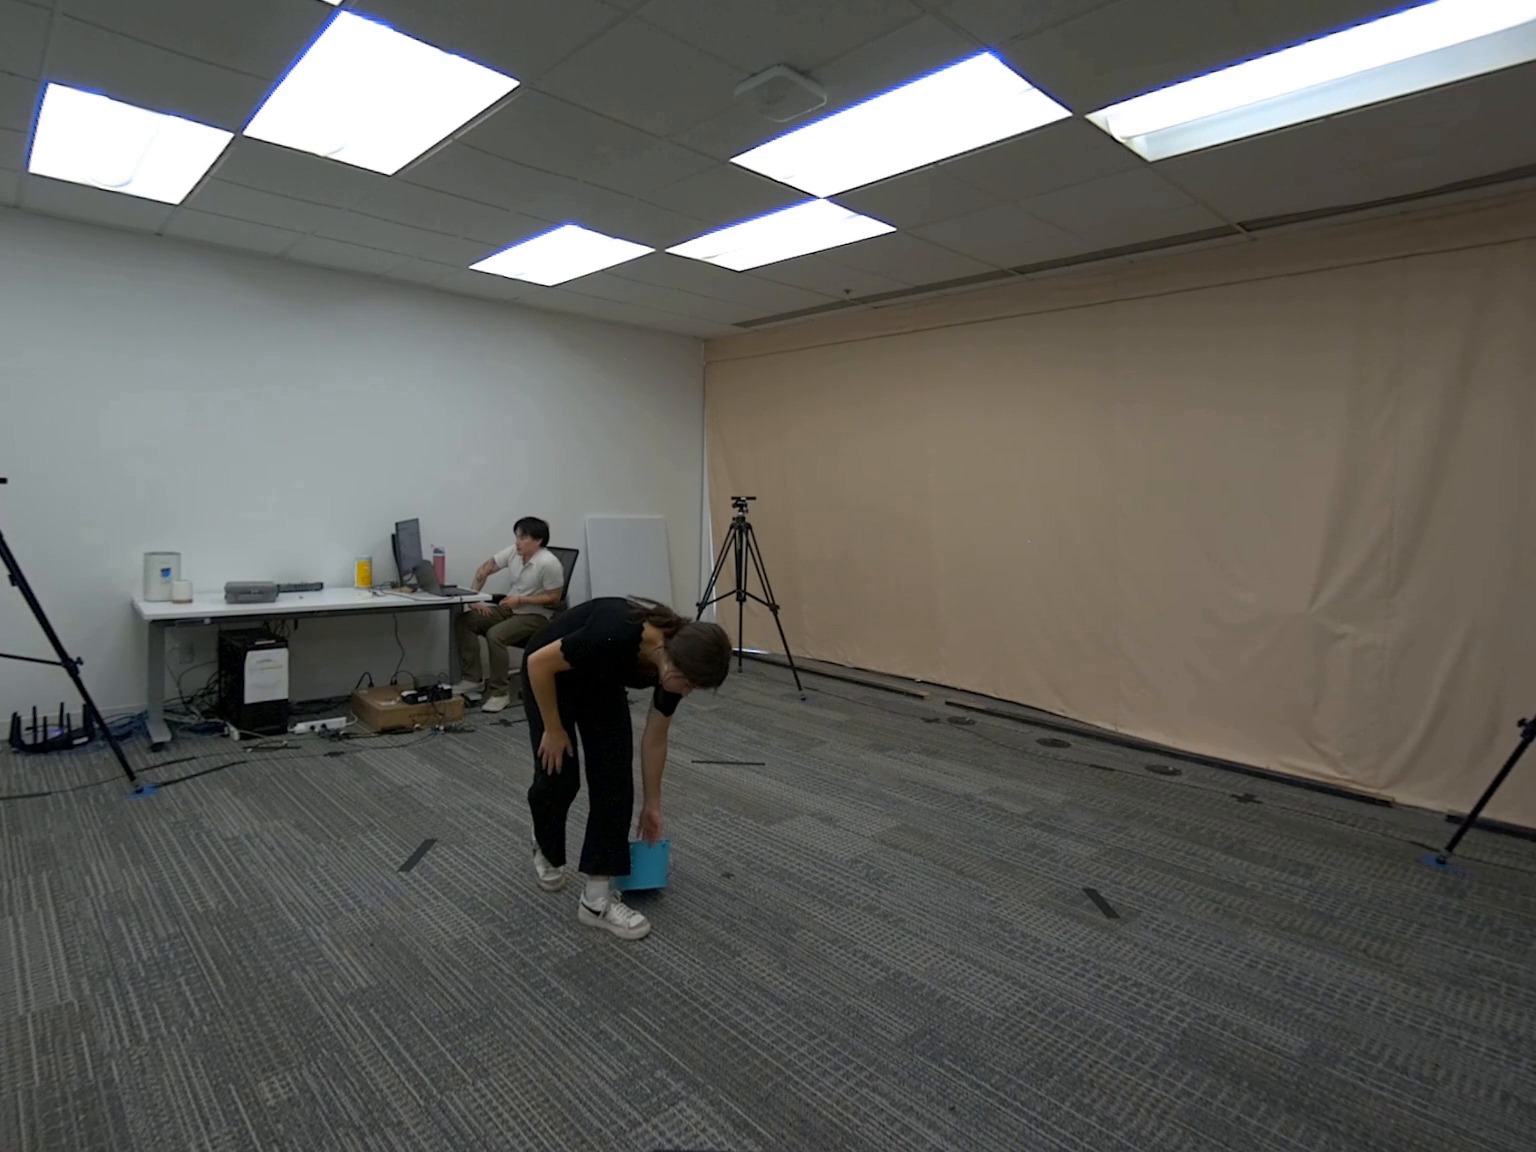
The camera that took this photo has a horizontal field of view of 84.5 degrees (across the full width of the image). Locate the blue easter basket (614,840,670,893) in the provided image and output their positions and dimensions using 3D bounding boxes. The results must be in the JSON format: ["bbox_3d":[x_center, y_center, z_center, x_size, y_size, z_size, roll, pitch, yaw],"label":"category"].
[{"bbox_3d":[-0.461,1.013,2.938,0.243,0.158,0.241,-3,-16,-2],"label":"blue easter basket"}]
